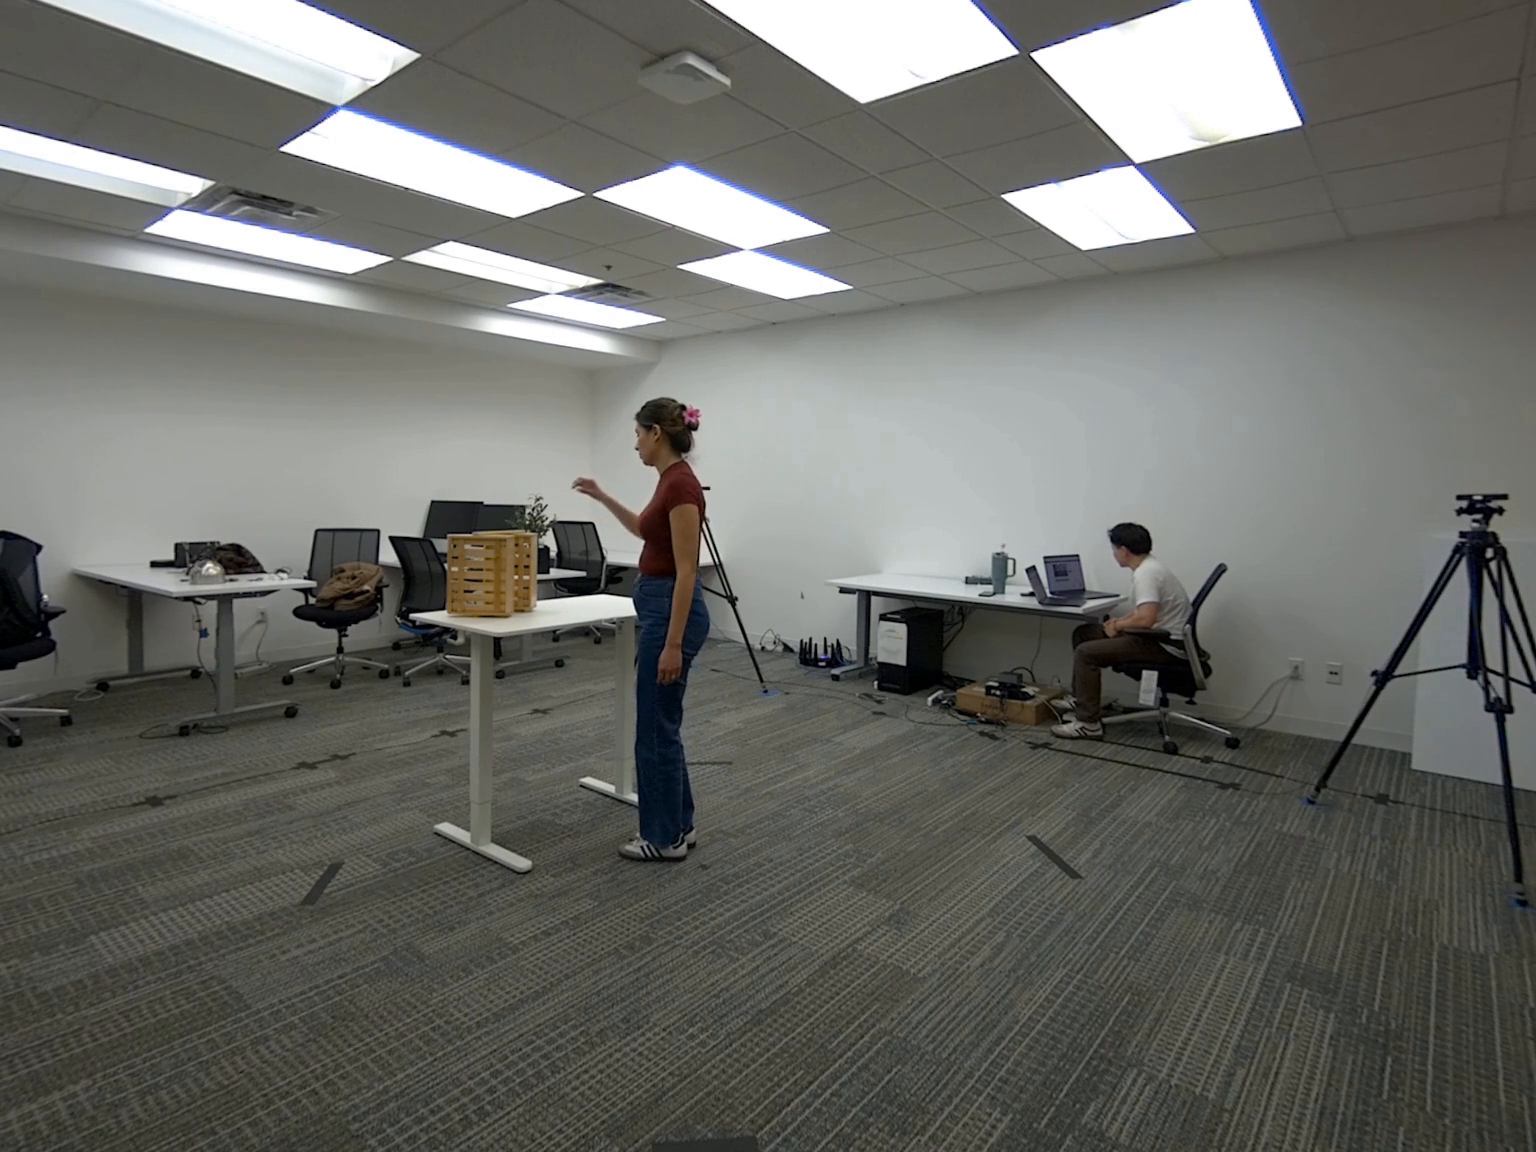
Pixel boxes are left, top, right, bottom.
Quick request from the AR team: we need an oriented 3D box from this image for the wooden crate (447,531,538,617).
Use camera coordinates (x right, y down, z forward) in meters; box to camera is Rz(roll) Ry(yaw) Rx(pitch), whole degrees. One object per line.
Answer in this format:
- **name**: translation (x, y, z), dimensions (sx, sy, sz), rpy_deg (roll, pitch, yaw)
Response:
- **wooden crate**: translation (-1.110, -0.016, 3.369), dimensions (0.301, 0.323, 0.275), rpy_deg (2, 4, -2)
